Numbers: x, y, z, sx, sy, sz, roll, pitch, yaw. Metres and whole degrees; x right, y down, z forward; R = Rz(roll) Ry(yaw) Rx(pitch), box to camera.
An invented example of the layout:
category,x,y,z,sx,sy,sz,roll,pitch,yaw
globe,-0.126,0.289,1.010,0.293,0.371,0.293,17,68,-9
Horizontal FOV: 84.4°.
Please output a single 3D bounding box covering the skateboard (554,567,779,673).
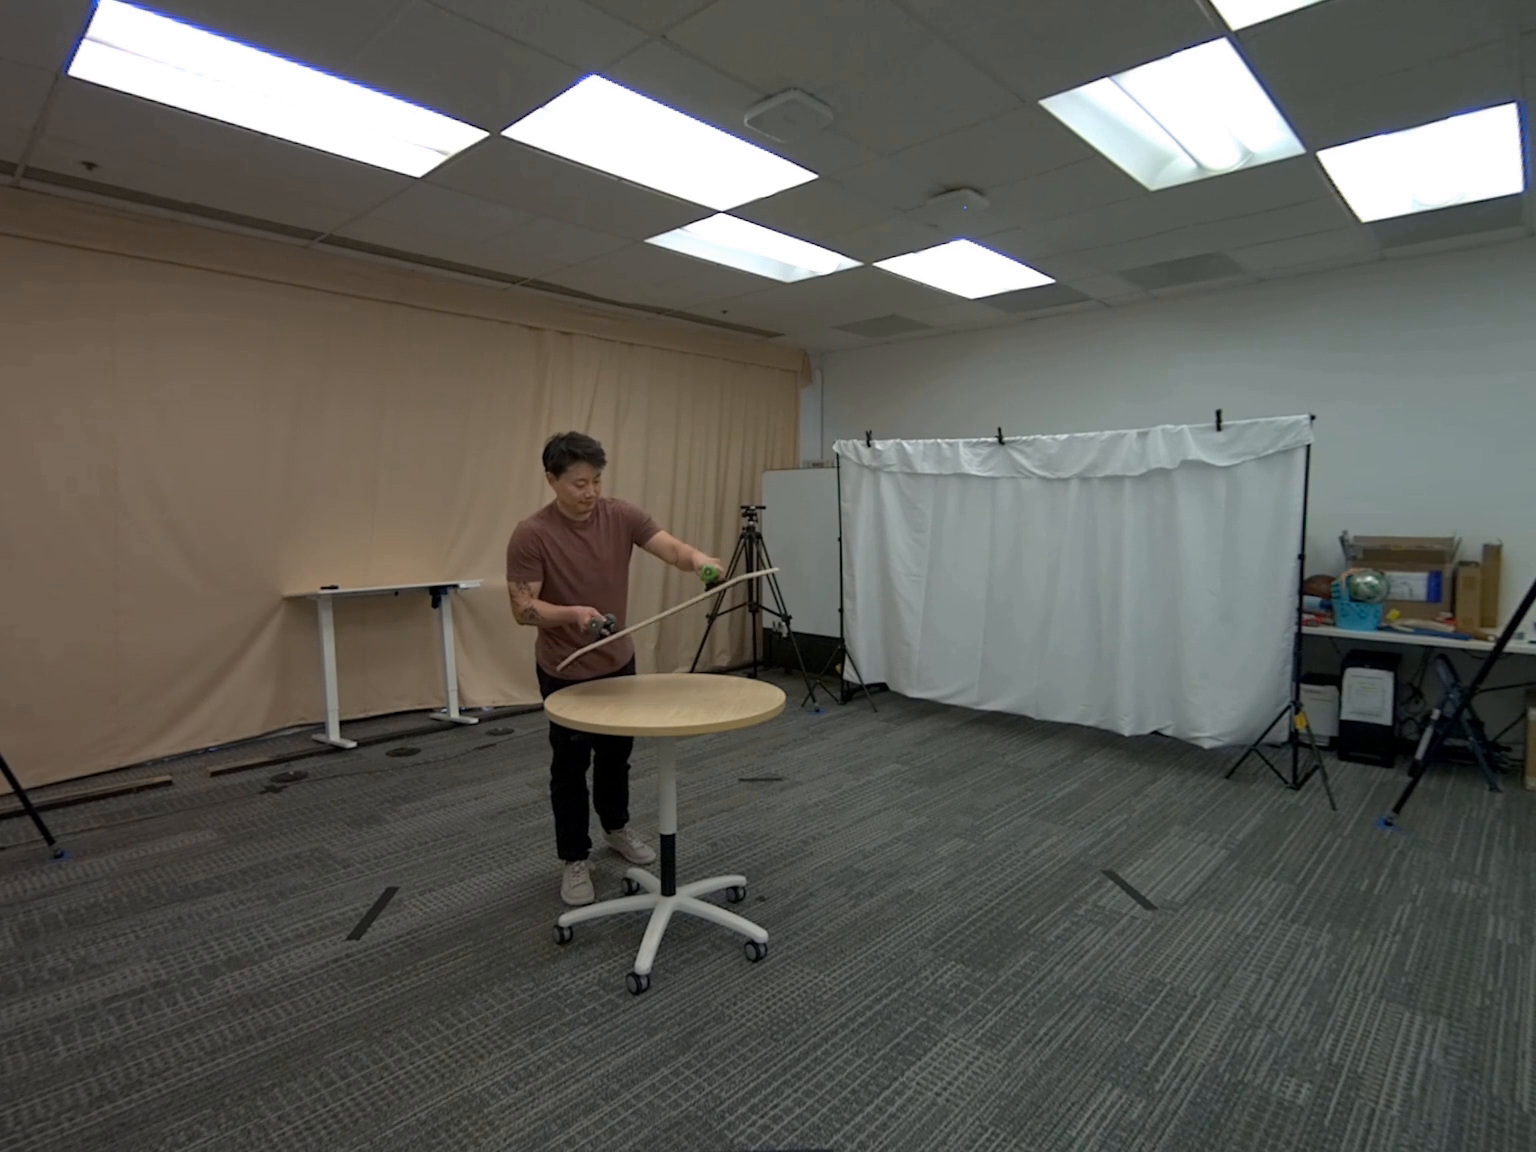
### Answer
category,x,y,z,sx,sy,sz,roll,pitch,yaw
skateboard,-0.344,0.104,2.686,0.789,0.110,0.192,-25,0,6
